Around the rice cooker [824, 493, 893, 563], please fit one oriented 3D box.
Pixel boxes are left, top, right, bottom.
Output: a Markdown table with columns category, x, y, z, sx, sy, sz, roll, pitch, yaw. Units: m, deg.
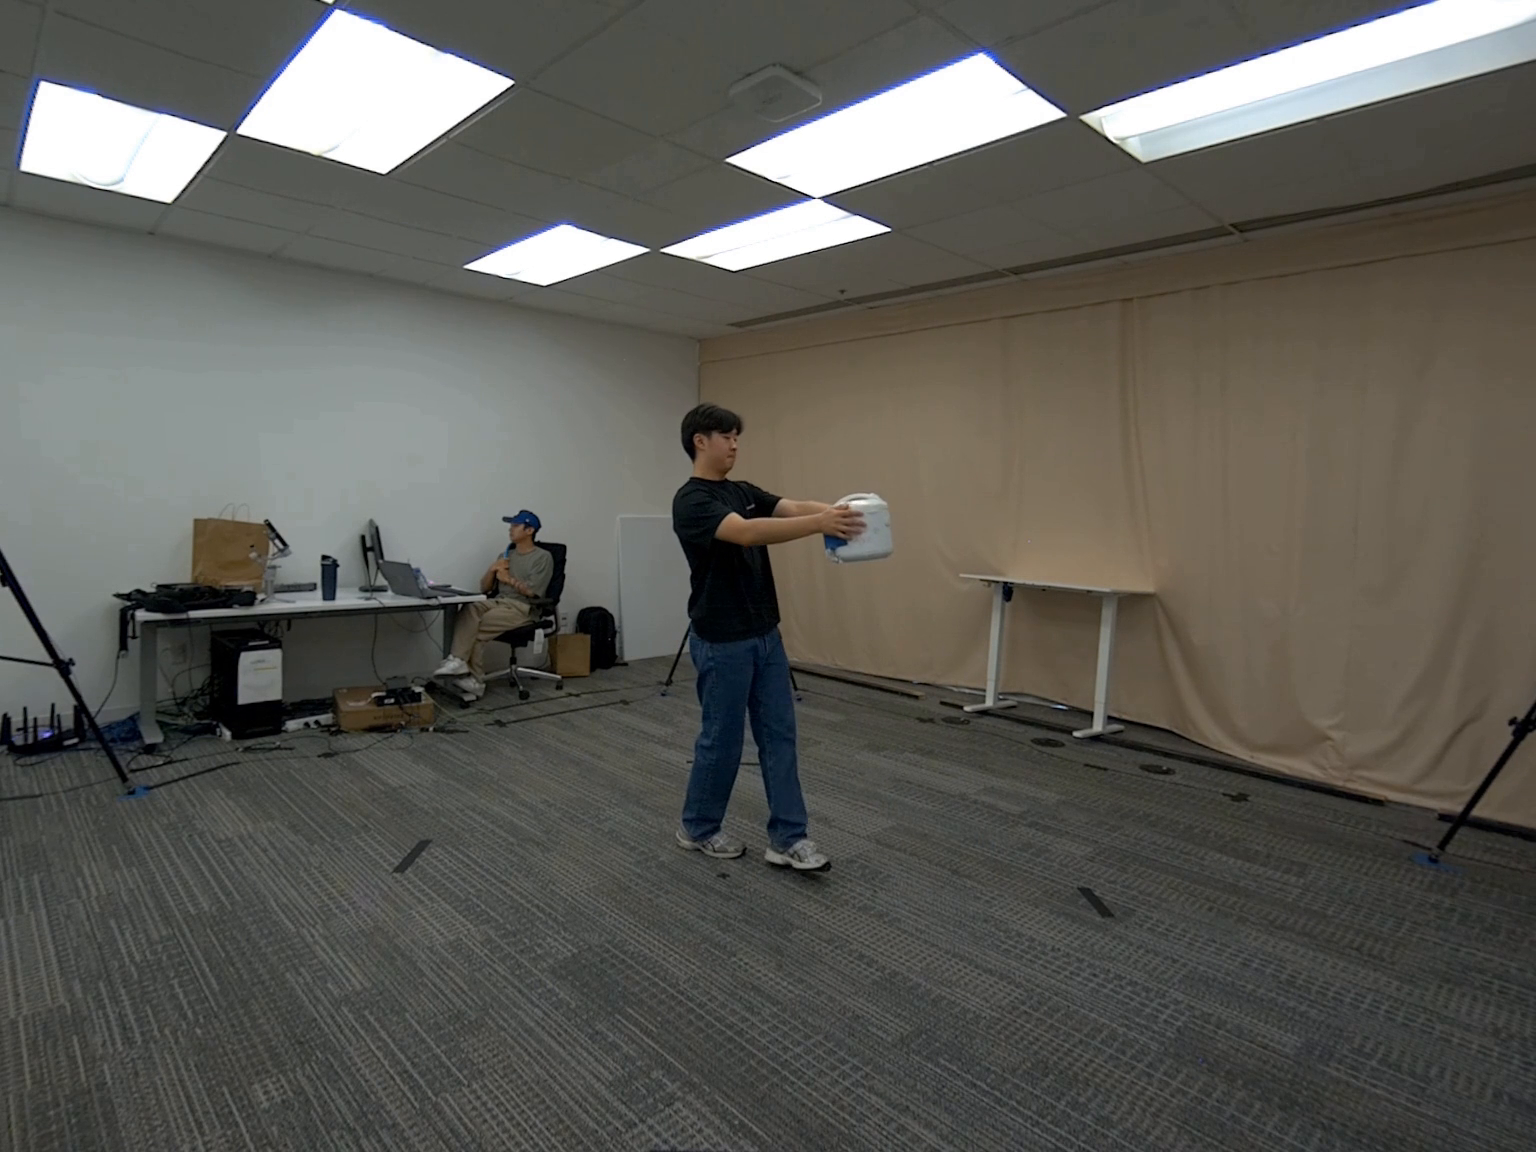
| category | x | y | z | sx | sy | sz | roll | pitch | yaw |
| --- | --- | --- | --- | --- | --- | --- | --- | --- | --- |
| rice cooker | 0.299 | -0.172 | 2.920 | 0.225 | 0.232 | 0.213 | -4 | 4 | 34 |
